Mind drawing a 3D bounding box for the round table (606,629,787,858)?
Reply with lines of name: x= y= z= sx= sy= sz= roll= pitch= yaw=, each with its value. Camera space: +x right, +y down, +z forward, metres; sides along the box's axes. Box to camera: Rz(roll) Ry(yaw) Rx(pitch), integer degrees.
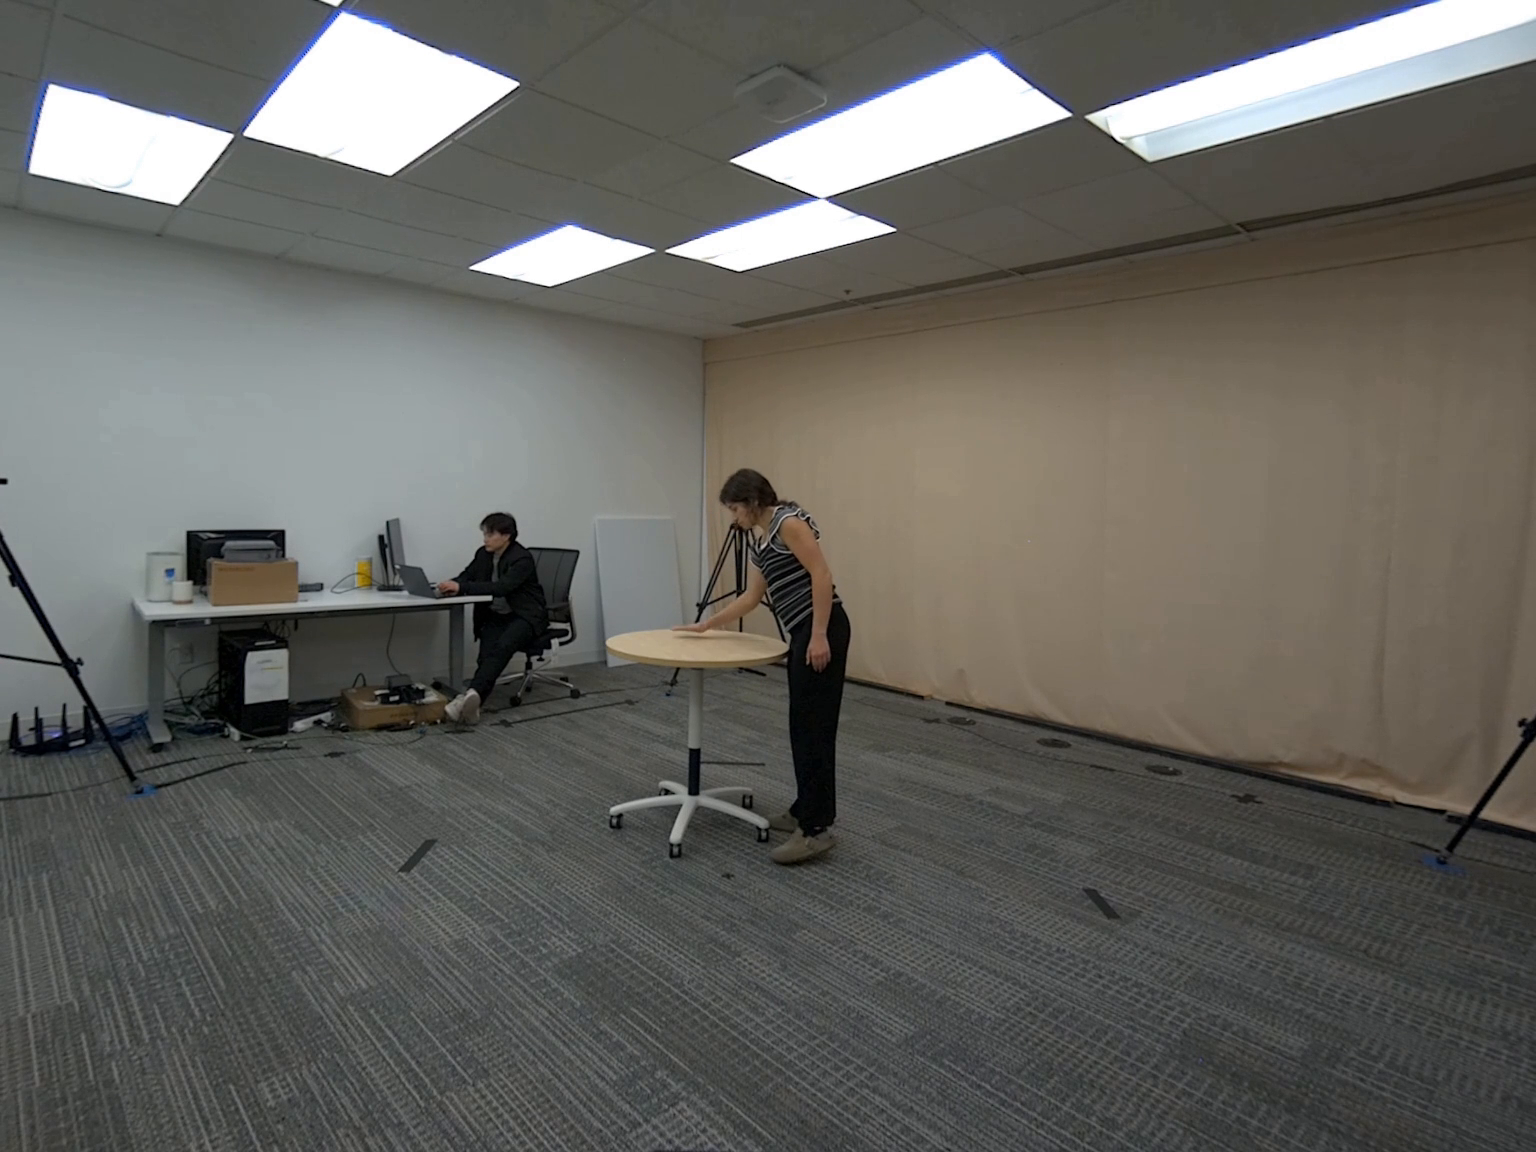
round table: x=-0.319 y=0.674 z=3.548 sx=0.763 sy=0.792 sz=0.766 roll=2 pitch=4 yaw=-1
